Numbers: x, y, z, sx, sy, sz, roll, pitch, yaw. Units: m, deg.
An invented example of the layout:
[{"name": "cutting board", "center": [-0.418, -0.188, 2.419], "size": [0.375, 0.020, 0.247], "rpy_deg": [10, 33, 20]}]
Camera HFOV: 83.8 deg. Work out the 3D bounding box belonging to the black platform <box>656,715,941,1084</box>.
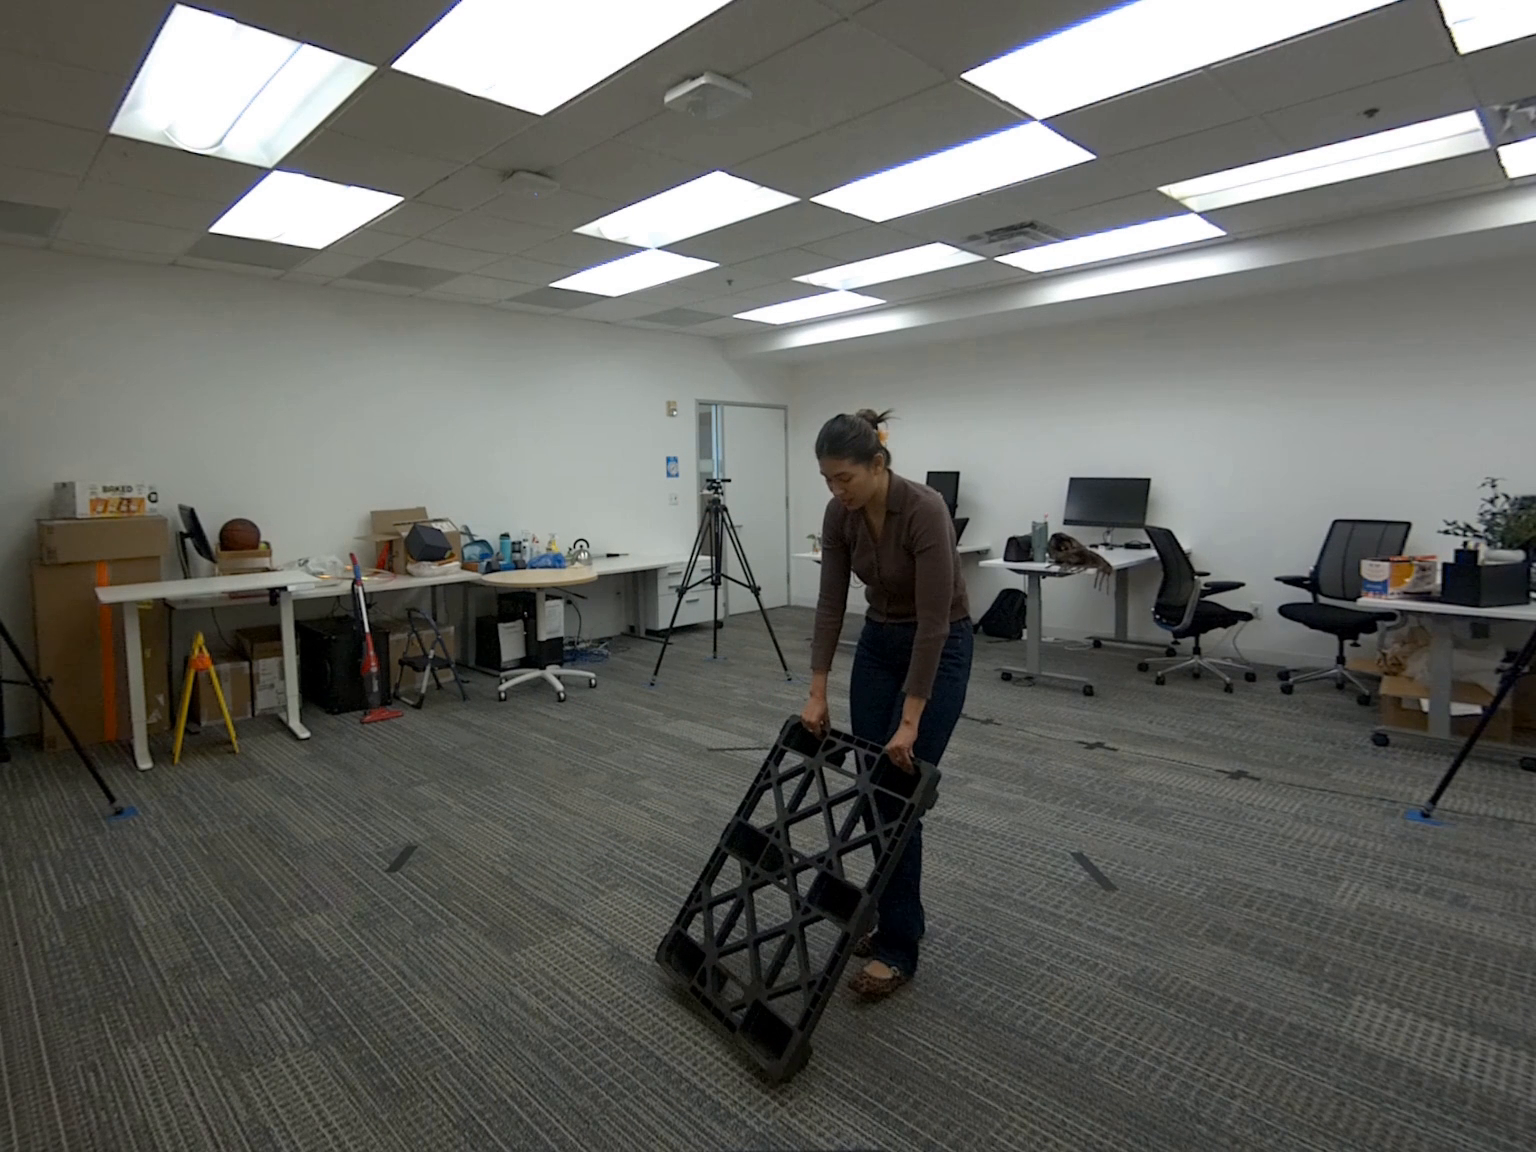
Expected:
[{"name": "black platform", "center": [0.097, 0.807, 2.284], "size": [0.138, 0.809, 0.624], "rpy_deg": [41, -18, -32]}]
